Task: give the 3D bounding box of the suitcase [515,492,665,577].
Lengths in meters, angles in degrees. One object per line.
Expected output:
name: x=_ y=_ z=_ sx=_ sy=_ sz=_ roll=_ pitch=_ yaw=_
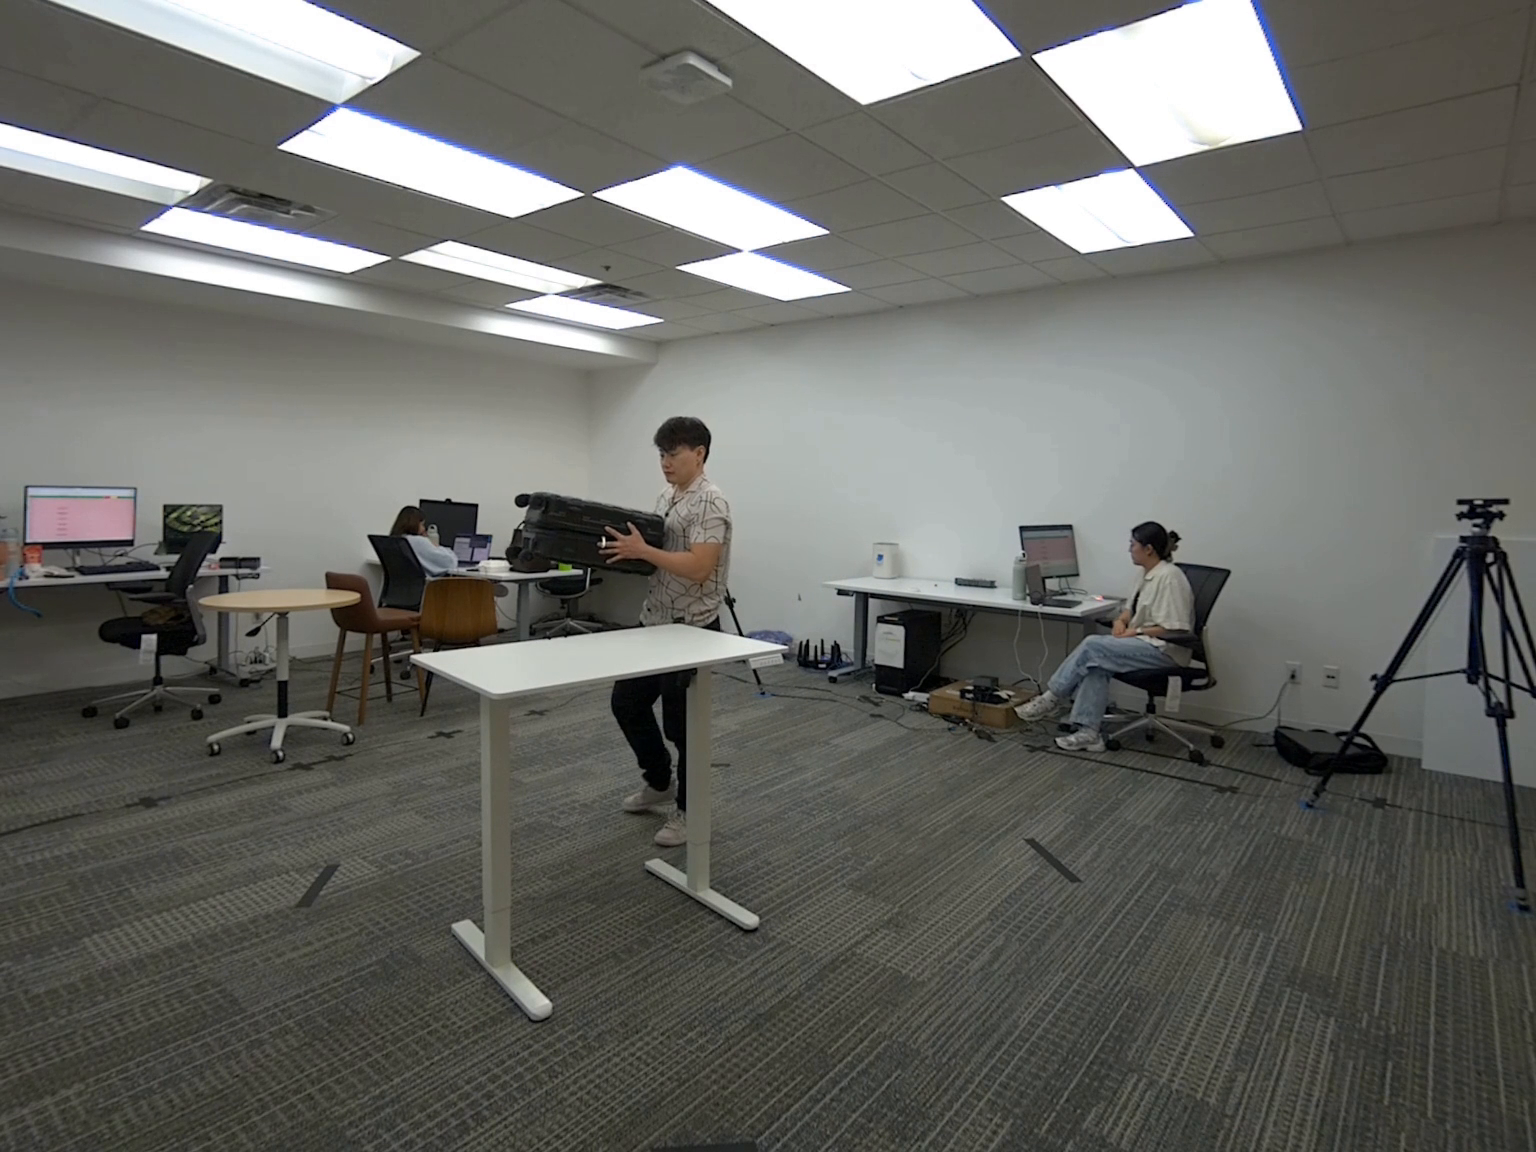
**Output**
suitcase: x=-0.717 y=-0.164 z=3.311 sx=0.534 sy=0.249 sz=0.385 roll=8 pitch=-2 yaw=-27
